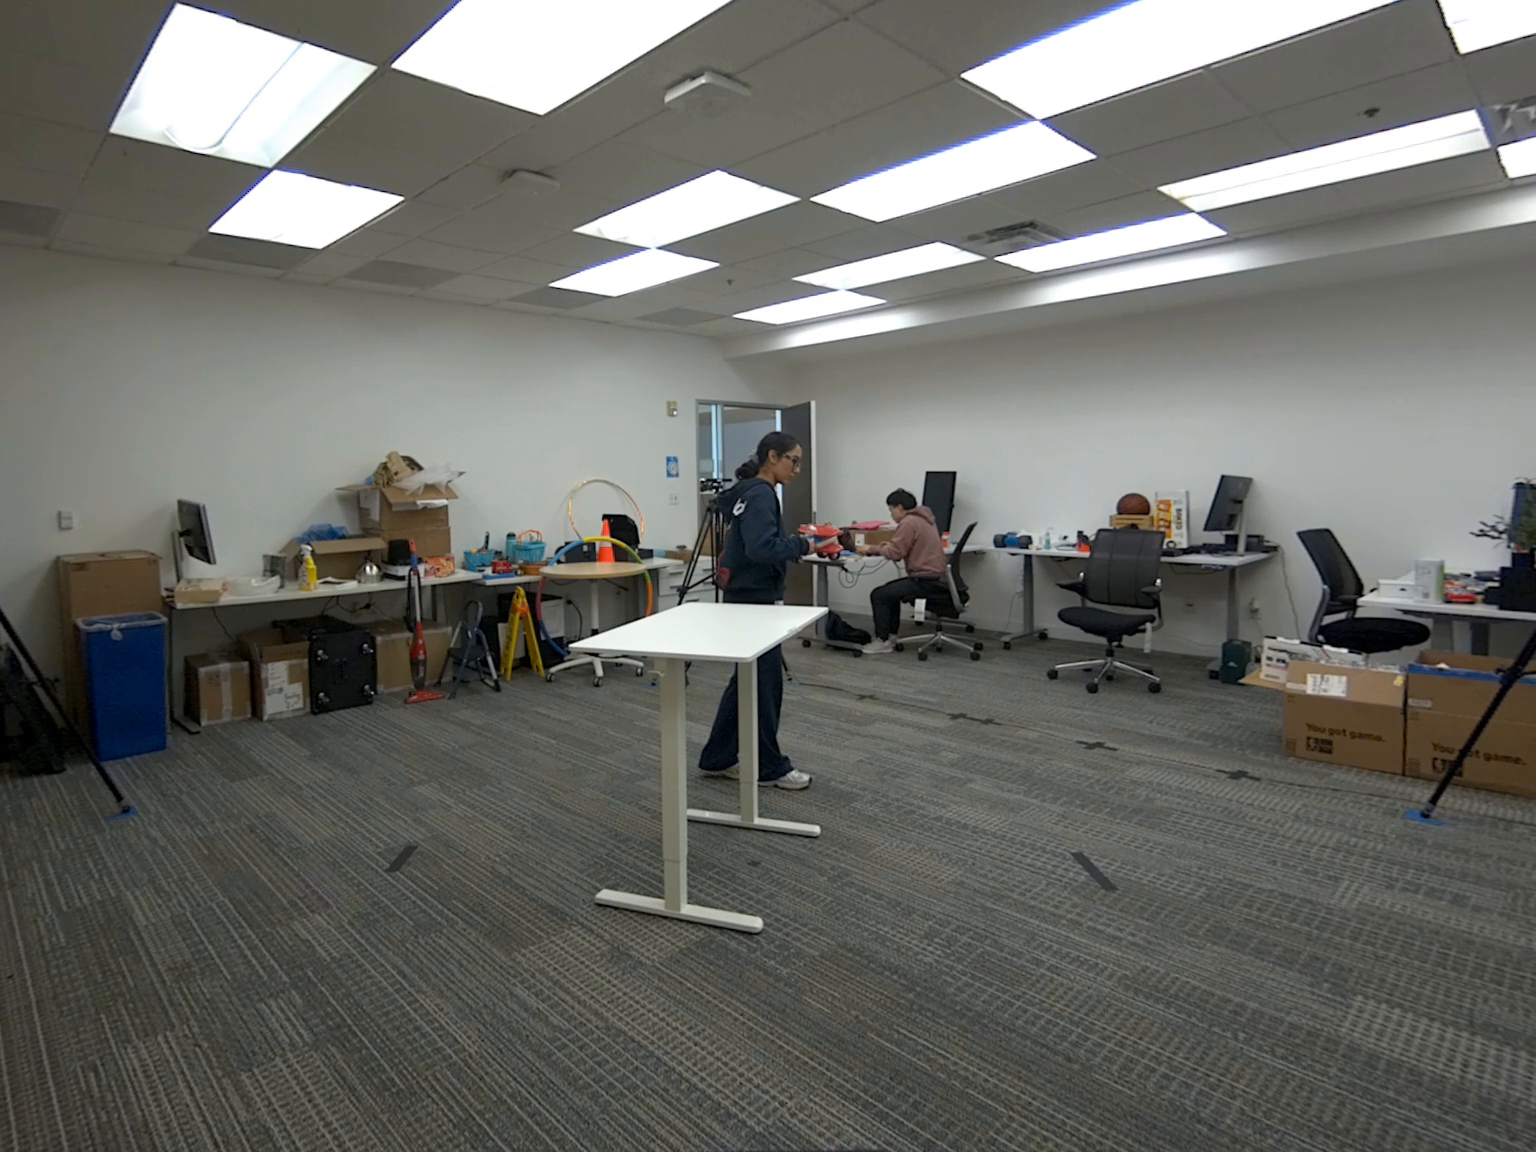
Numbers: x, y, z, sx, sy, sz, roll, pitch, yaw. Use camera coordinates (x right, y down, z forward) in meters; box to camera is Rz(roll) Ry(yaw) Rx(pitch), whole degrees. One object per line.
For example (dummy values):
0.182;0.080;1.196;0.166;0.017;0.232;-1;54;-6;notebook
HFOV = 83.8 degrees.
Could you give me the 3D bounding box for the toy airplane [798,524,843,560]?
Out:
0.213;-0.139;3.803;0.258;0.155;0.254;5;10;29;toy airplane
